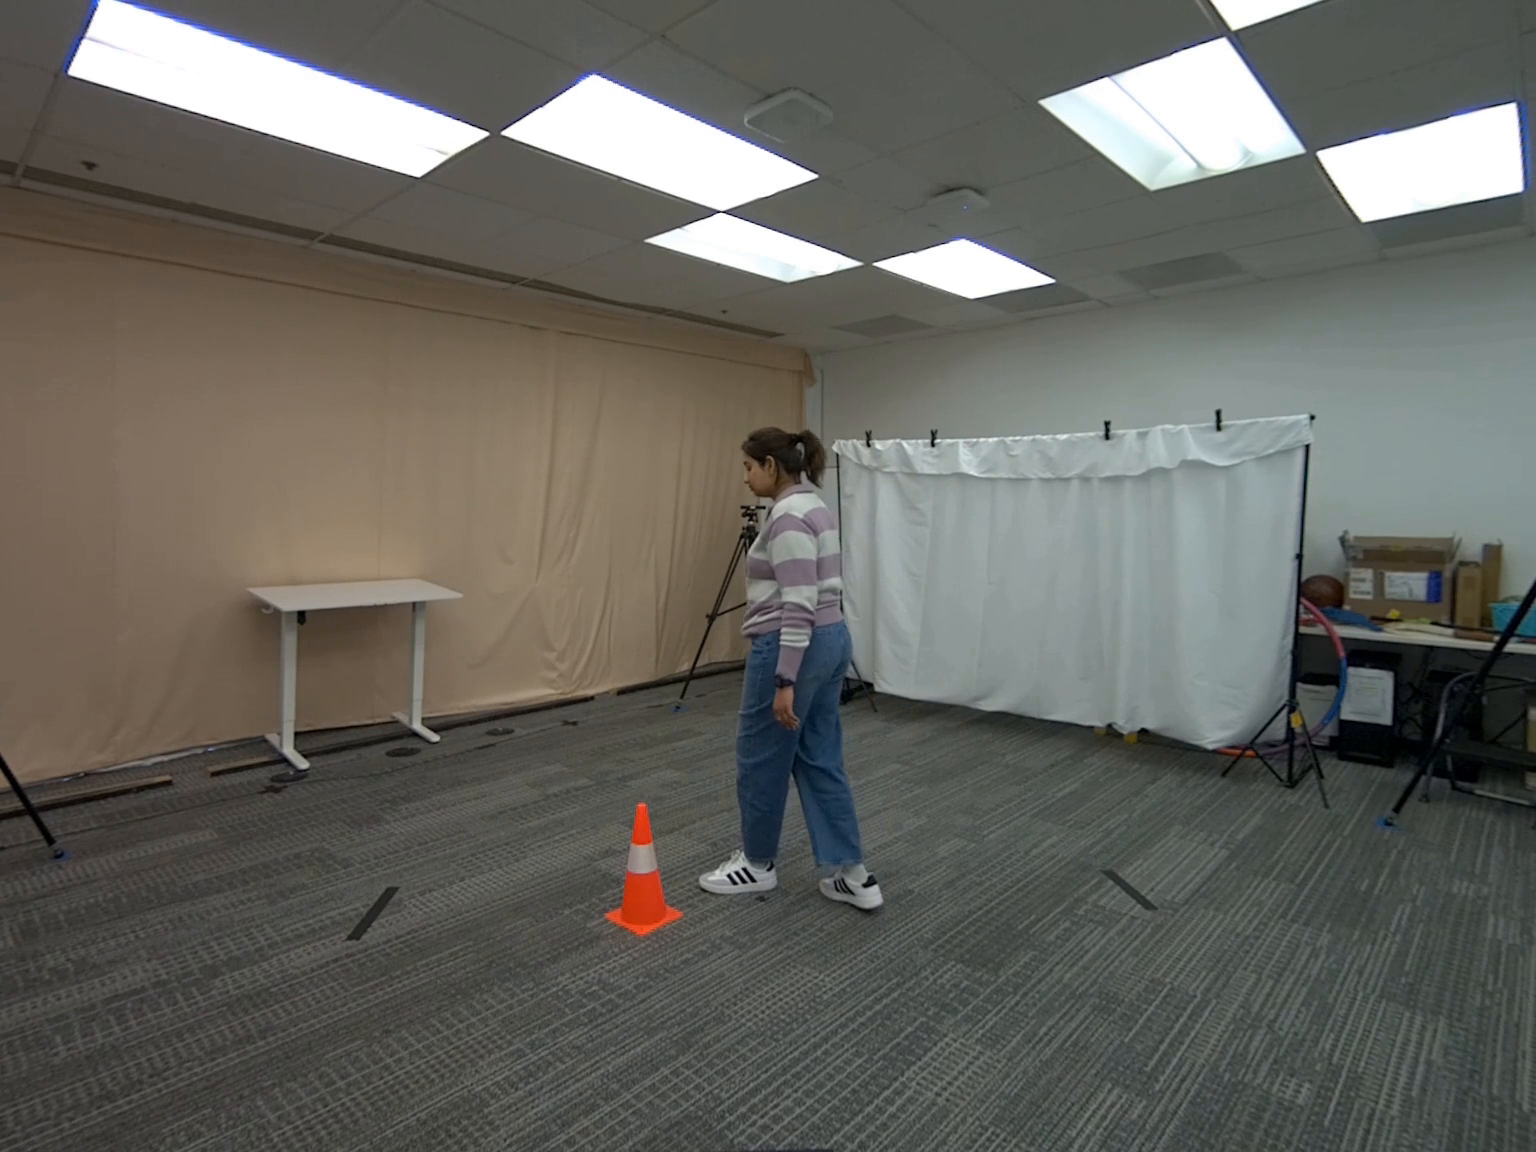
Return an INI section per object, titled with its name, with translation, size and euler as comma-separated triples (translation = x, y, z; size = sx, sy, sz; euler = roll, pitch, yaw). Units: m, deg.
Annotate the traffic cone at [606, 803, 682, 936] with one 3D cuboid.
[traffic cone]
translation = -0.419, 0.971, 2.856
size = 0.210, 0.383, 0.199
euler = 4, 4, 35
